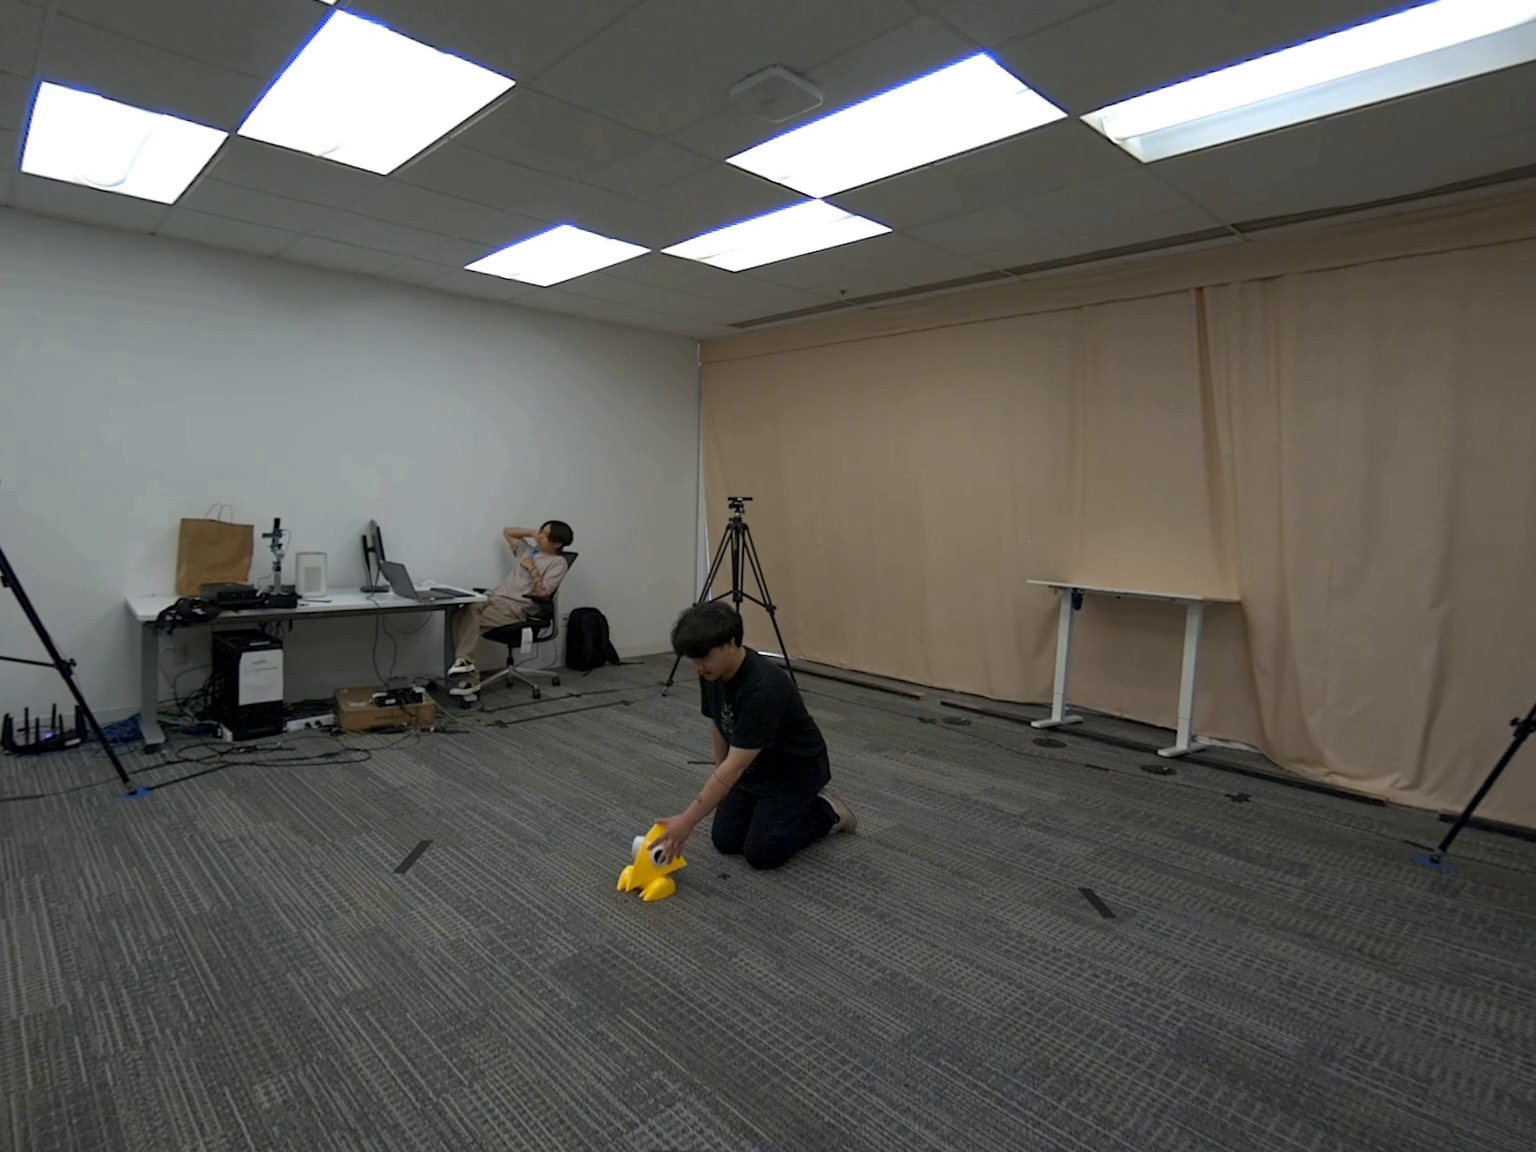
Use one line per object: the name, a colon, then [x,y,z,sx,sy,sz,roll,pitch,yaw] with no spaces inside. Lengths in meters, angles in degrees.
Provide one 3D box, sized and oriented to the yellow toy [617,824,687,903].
yellow toy: [-0.430,1.000,2.997,0.210,0.230,0.189,4,5,36]
